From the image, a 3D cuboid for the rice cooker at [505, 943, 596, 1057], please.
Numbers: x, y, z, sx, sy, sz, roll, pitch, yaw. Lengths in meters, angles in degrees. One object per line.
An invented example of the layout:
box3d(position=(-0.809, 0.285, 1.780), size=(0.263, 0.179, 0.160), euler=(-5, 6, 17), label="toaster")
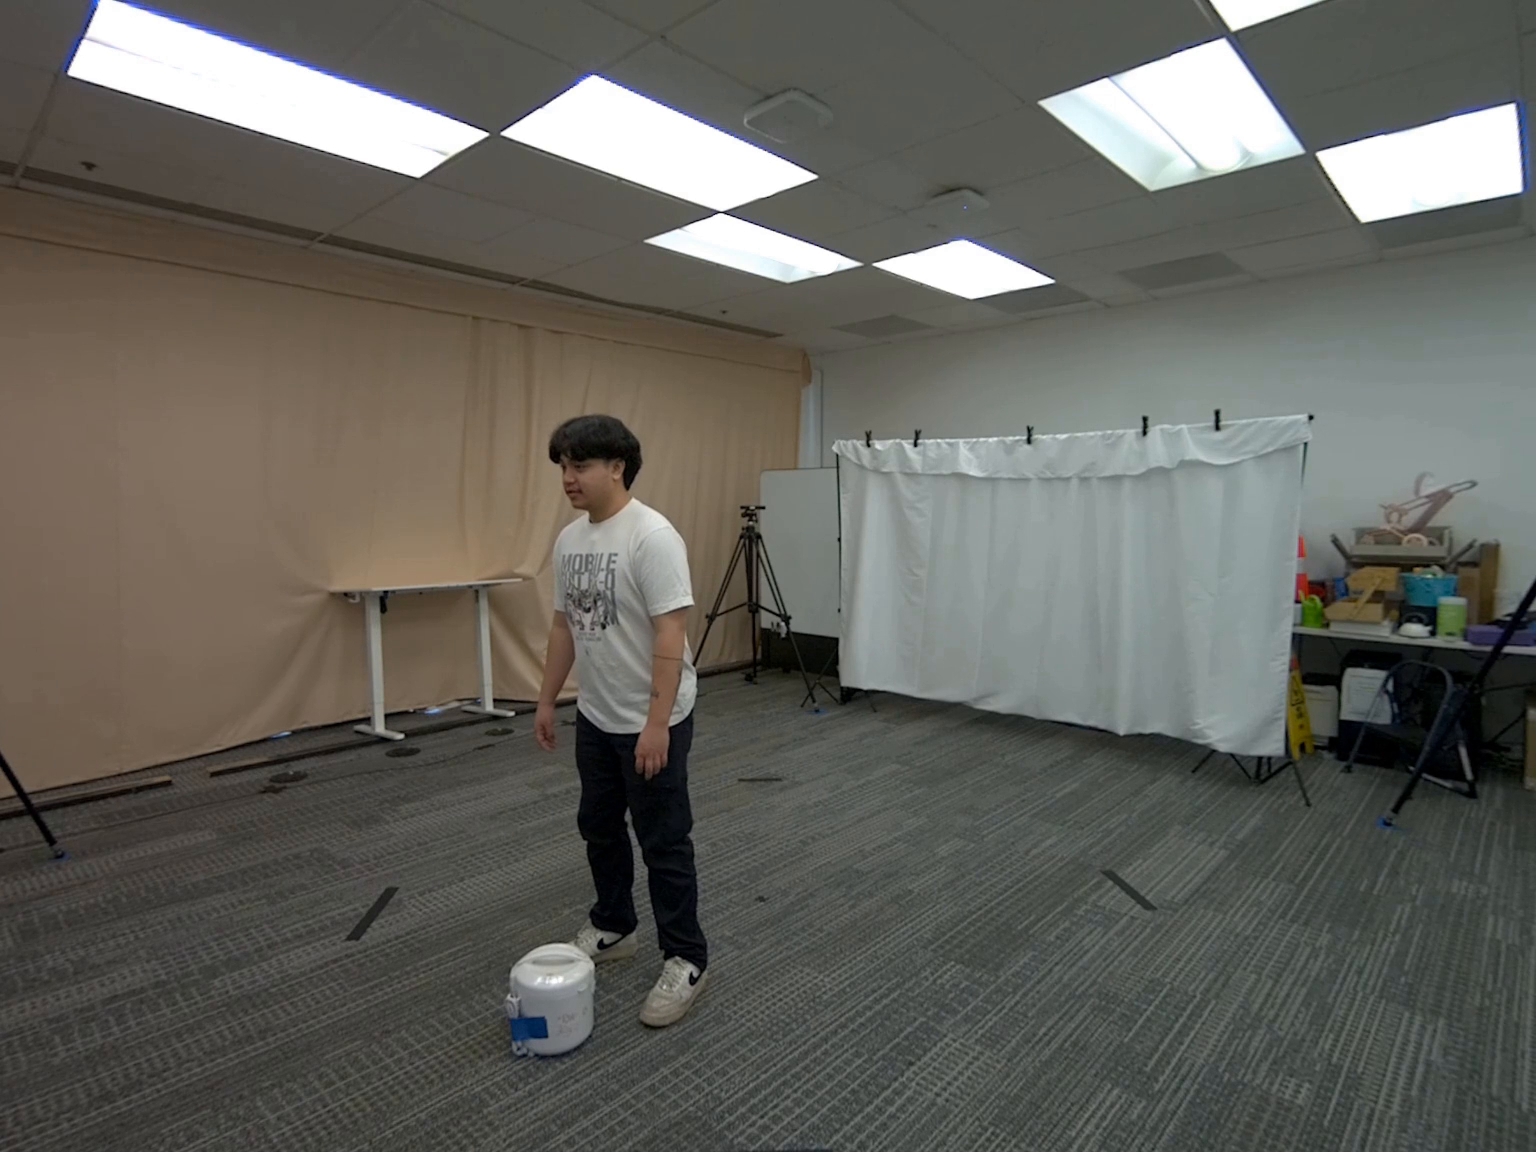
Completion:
box3d(position=(-0.564, 1.092, 2.213), size=(0.220, 0.232, 0.219), euler=(0, 5, -5), label="rice cooker")
